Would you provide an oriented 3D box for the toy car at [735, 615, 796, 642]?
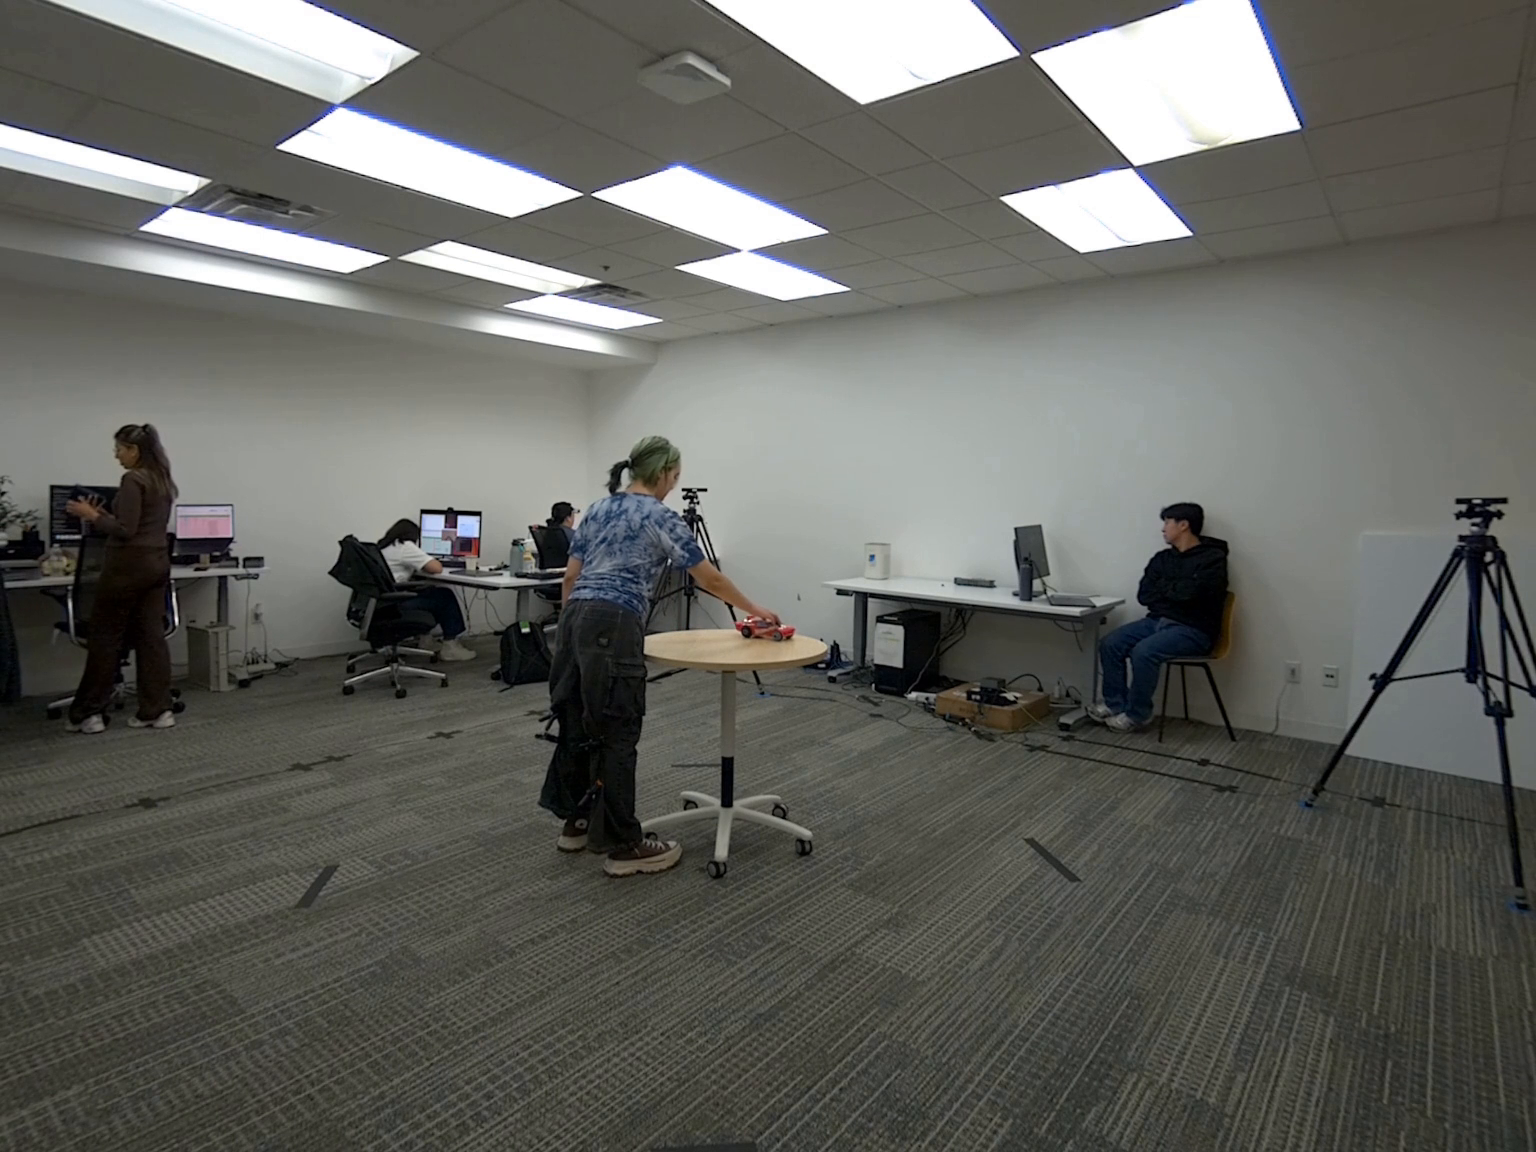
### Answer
[{"bbox_3d":[-0.036,0.220,3.522,0.263,0.082,0.127,16,13,29],"label":"toy car"}]
